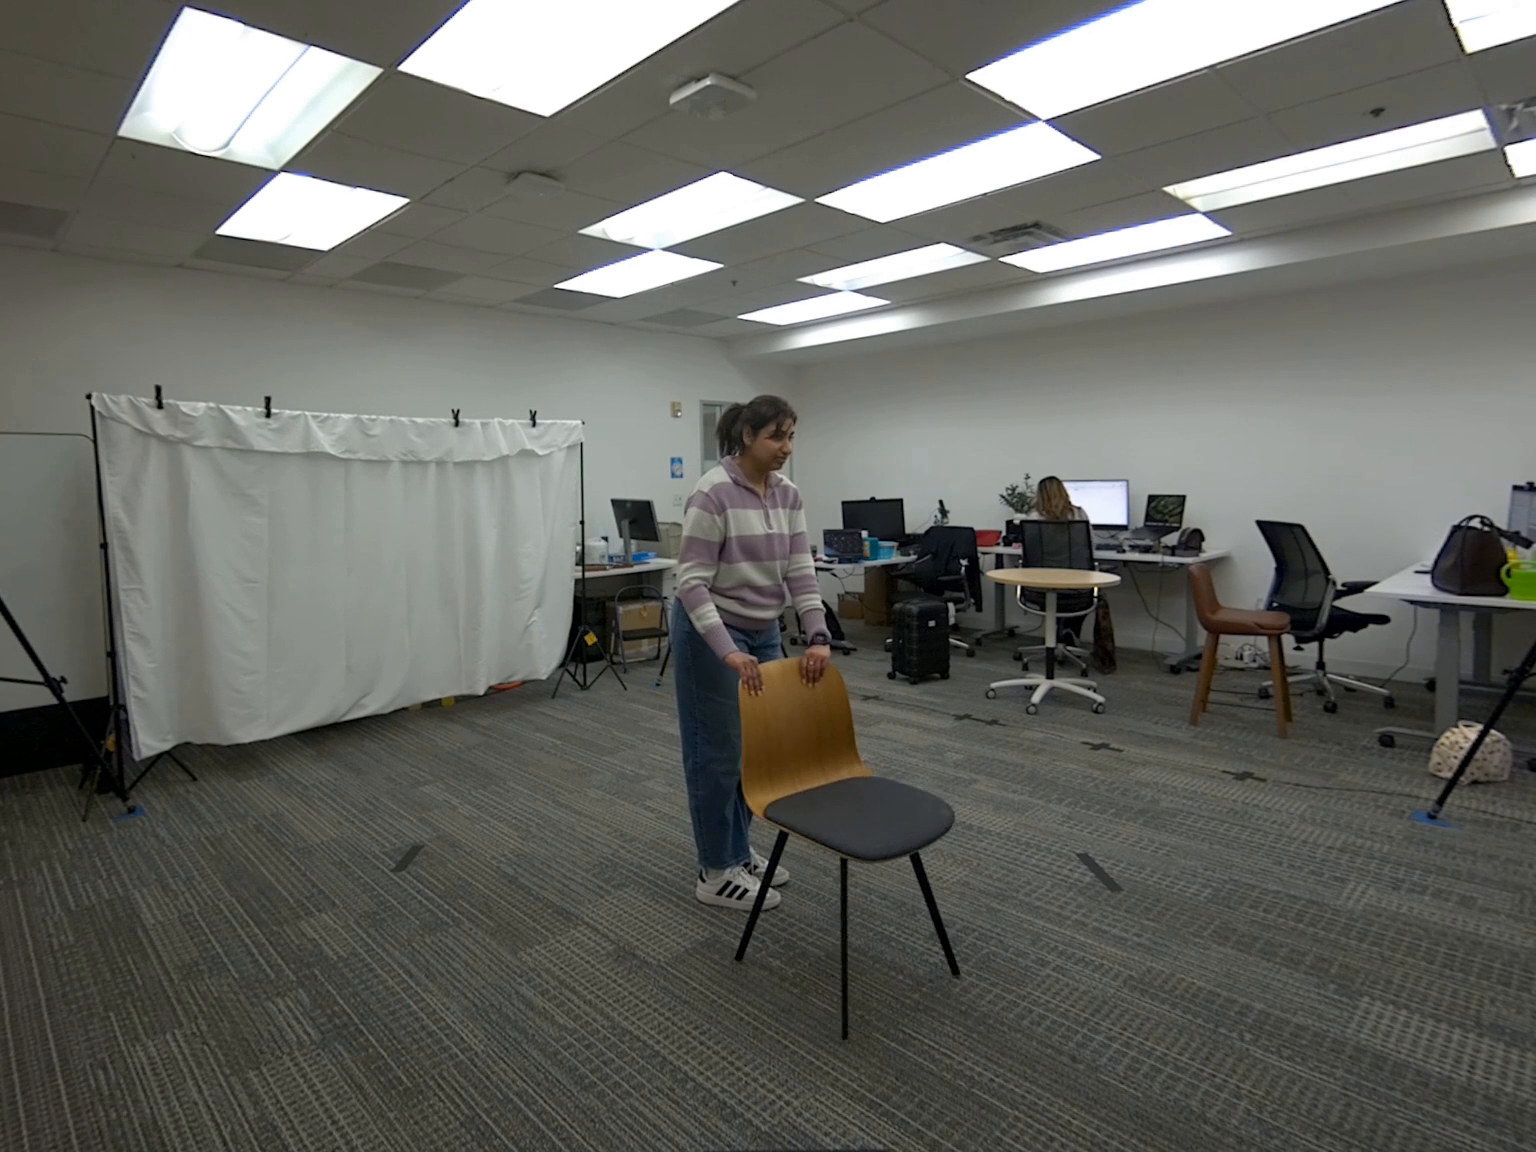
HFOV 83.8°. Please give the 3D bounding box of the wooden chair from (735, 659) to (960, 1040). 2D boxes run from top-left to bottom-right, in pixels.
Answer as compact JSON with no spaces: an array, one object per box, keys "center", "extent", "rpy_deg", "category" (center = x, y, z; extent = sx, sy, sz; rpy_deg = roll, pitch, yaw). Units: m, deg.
[{"center":[0.220,0.697,2.401],"extent":[0.466,0.877,0.537],"rpy_deg":[-4,1,-37],"category":"wooden chair"}]
